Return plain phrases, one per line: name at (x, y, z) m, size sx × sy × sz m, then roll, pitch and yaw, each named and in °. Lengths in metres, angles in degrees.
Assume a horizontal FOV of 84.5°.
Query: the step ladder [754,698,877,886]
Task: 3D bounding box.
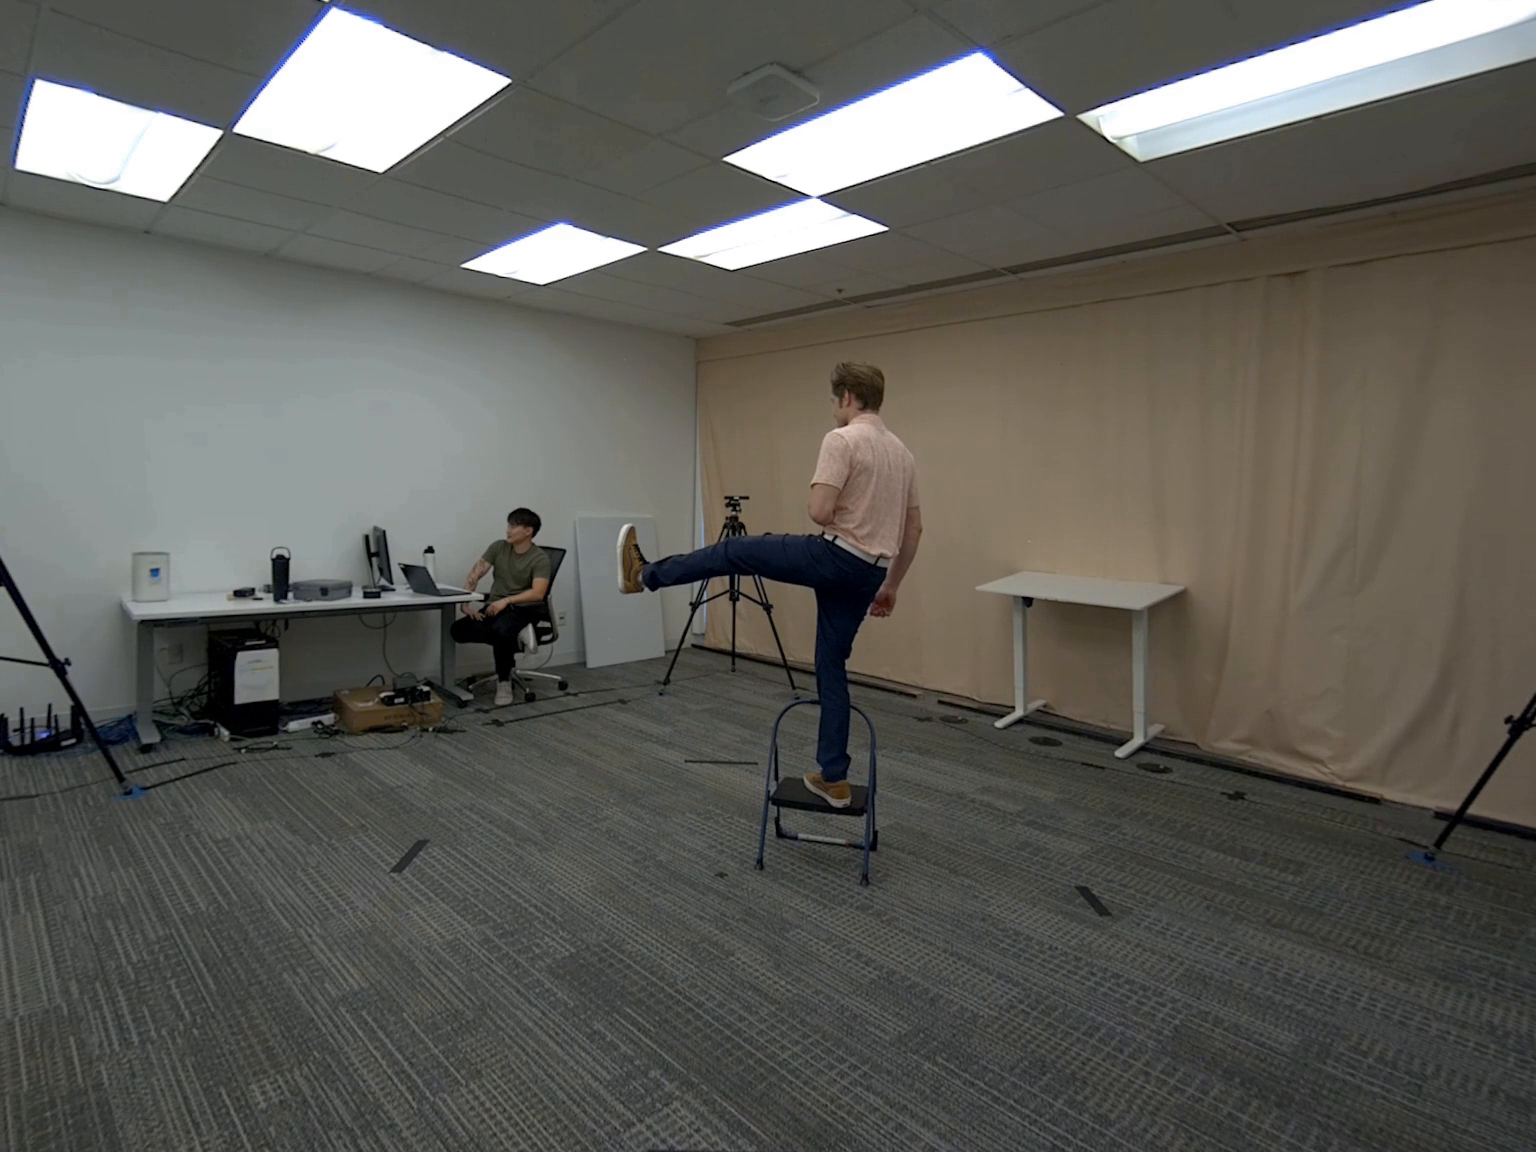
step ladder at (0.201, 0.800, 3.251) m, size 0.436 × 0.605 × 0.346 m, roll 2°, pitch 3°, yaw 15°
